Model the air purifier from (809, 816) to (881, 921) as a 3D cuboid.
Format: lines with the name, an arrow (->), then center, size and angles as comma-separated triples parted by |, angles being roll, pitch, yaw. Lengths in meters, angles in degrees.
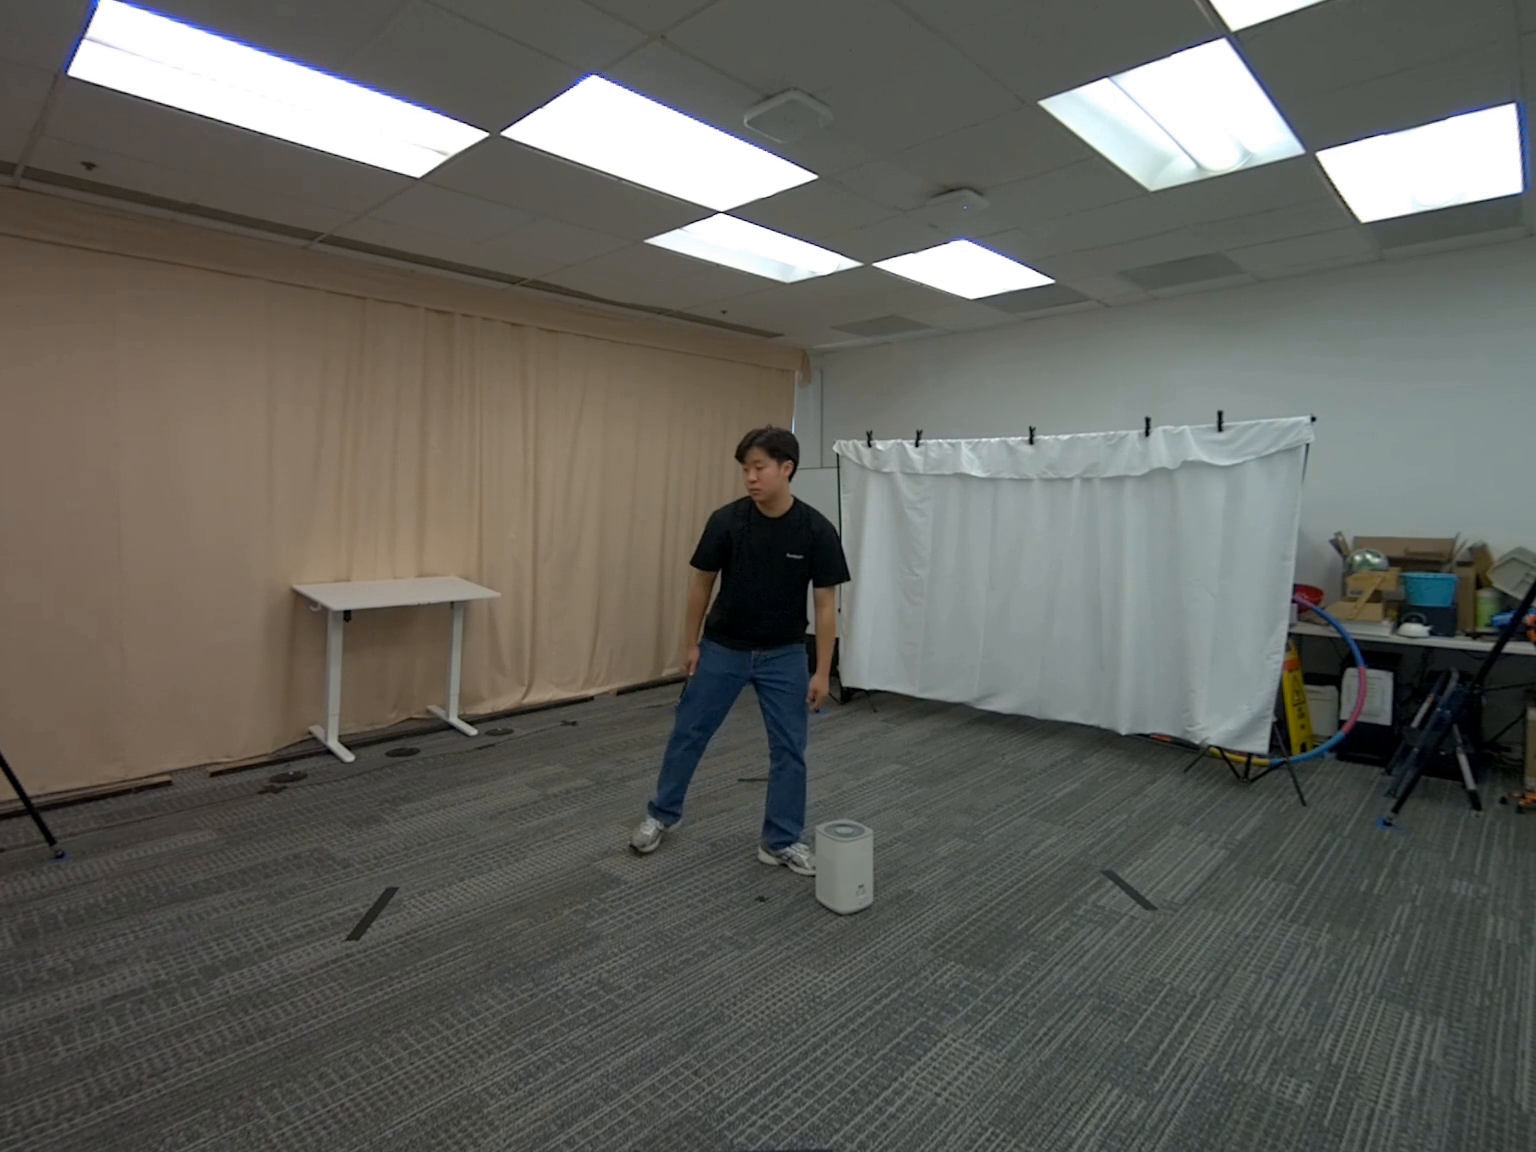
air purifier -> 0.265, 1.006, 2.937 | 0.166, 0.265, 0.177 | -3, 5, -39
